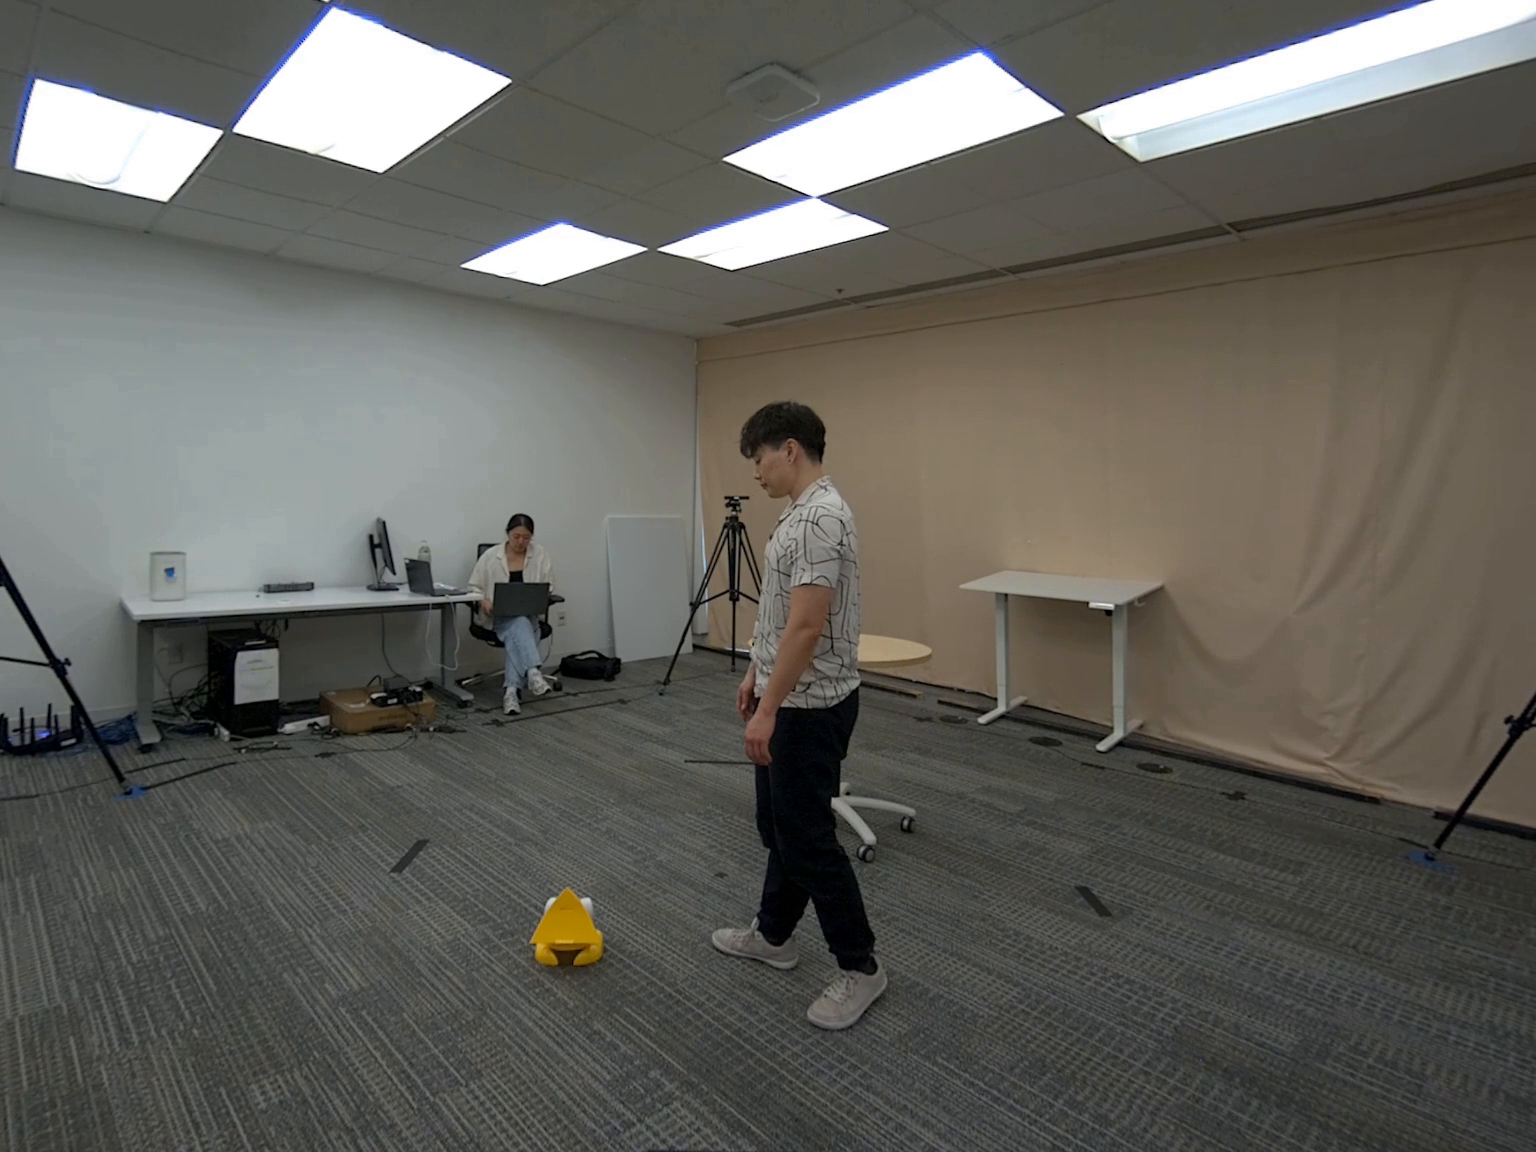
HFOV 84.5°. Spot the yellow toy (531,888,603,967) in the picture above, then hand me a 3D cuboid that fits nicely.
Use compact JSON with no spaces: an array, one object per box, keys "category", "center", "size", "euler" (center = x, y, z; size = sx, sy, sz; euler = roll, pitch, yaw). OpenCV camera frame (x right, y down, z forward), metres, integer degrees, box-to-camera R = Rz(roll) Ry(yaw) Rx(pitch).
[{"category":"yellow toy","center":[-0.610,1.034,2.547],"size":[0.204,0.230,0.194],"euler":[1,5,-3]}]
